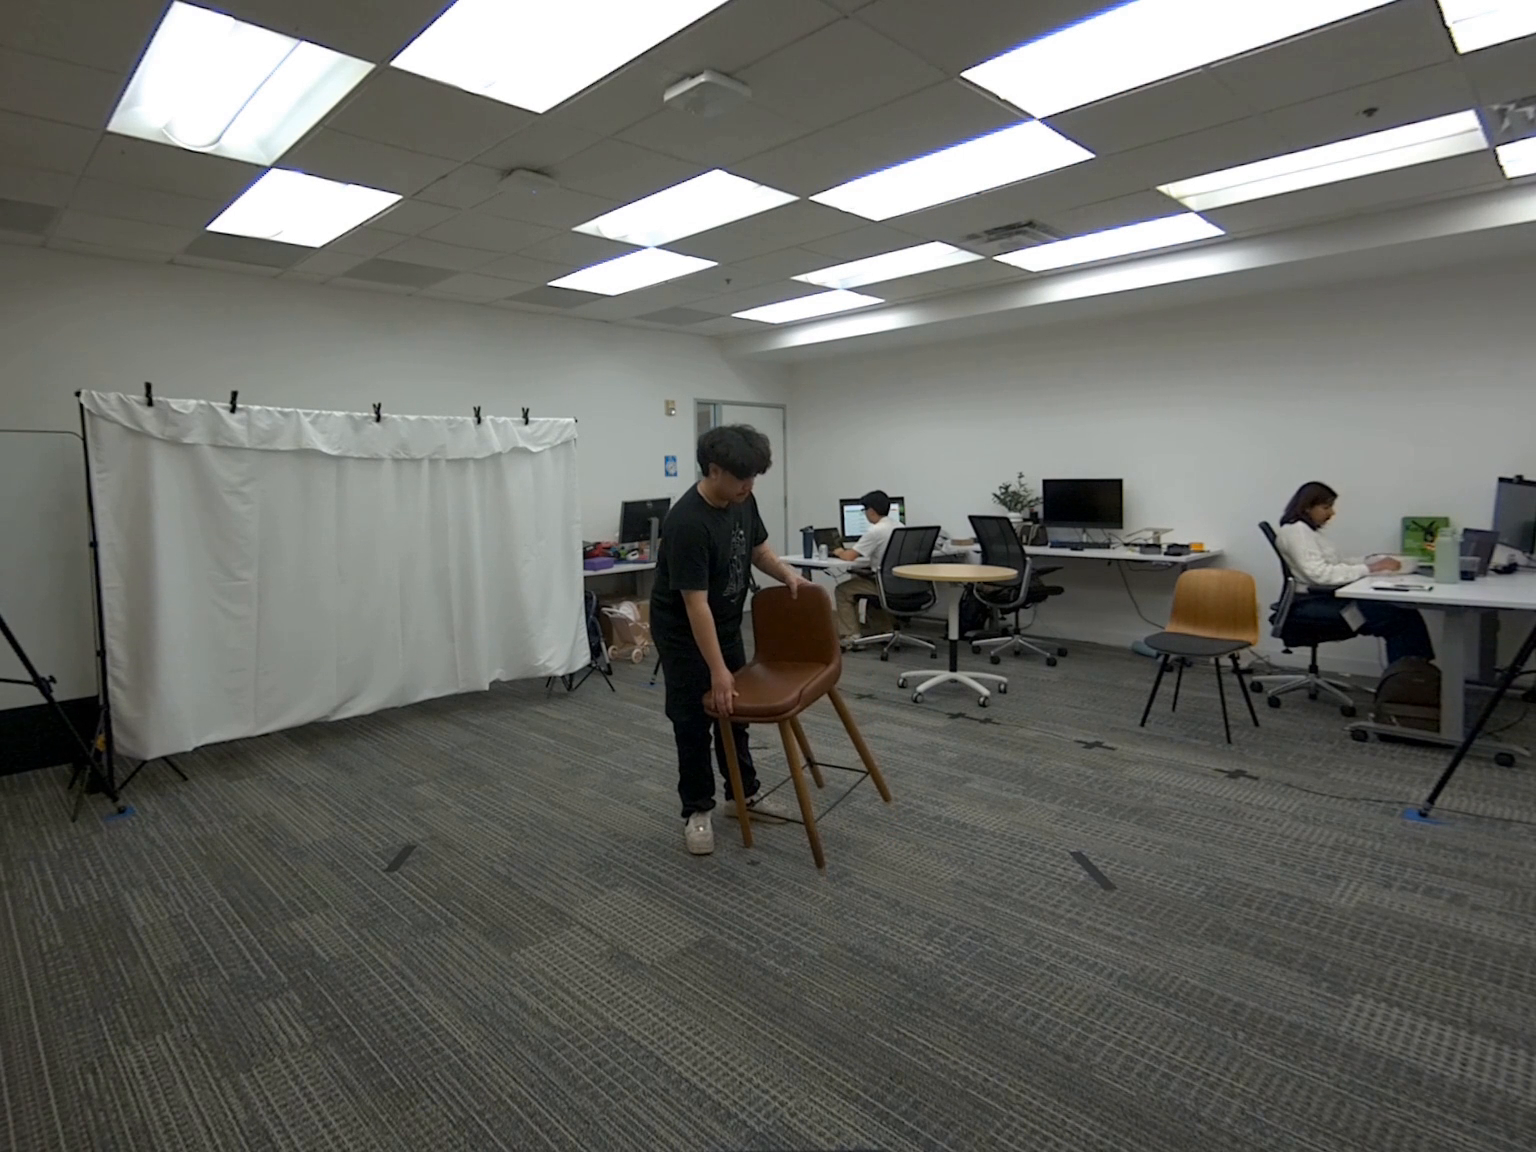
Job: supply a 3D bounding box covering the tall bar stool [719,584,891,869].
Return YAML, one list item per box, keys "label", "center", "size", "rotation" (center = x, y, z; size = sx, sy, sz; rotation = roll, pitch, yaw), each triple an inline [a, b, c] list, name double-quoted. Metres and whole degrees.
- label: "tall bar stool"
  center: [0.075, 0.532, 3.165]
  size: [0.460, 0.881, 0.468]
  rotation: [-24, 12, -40]
